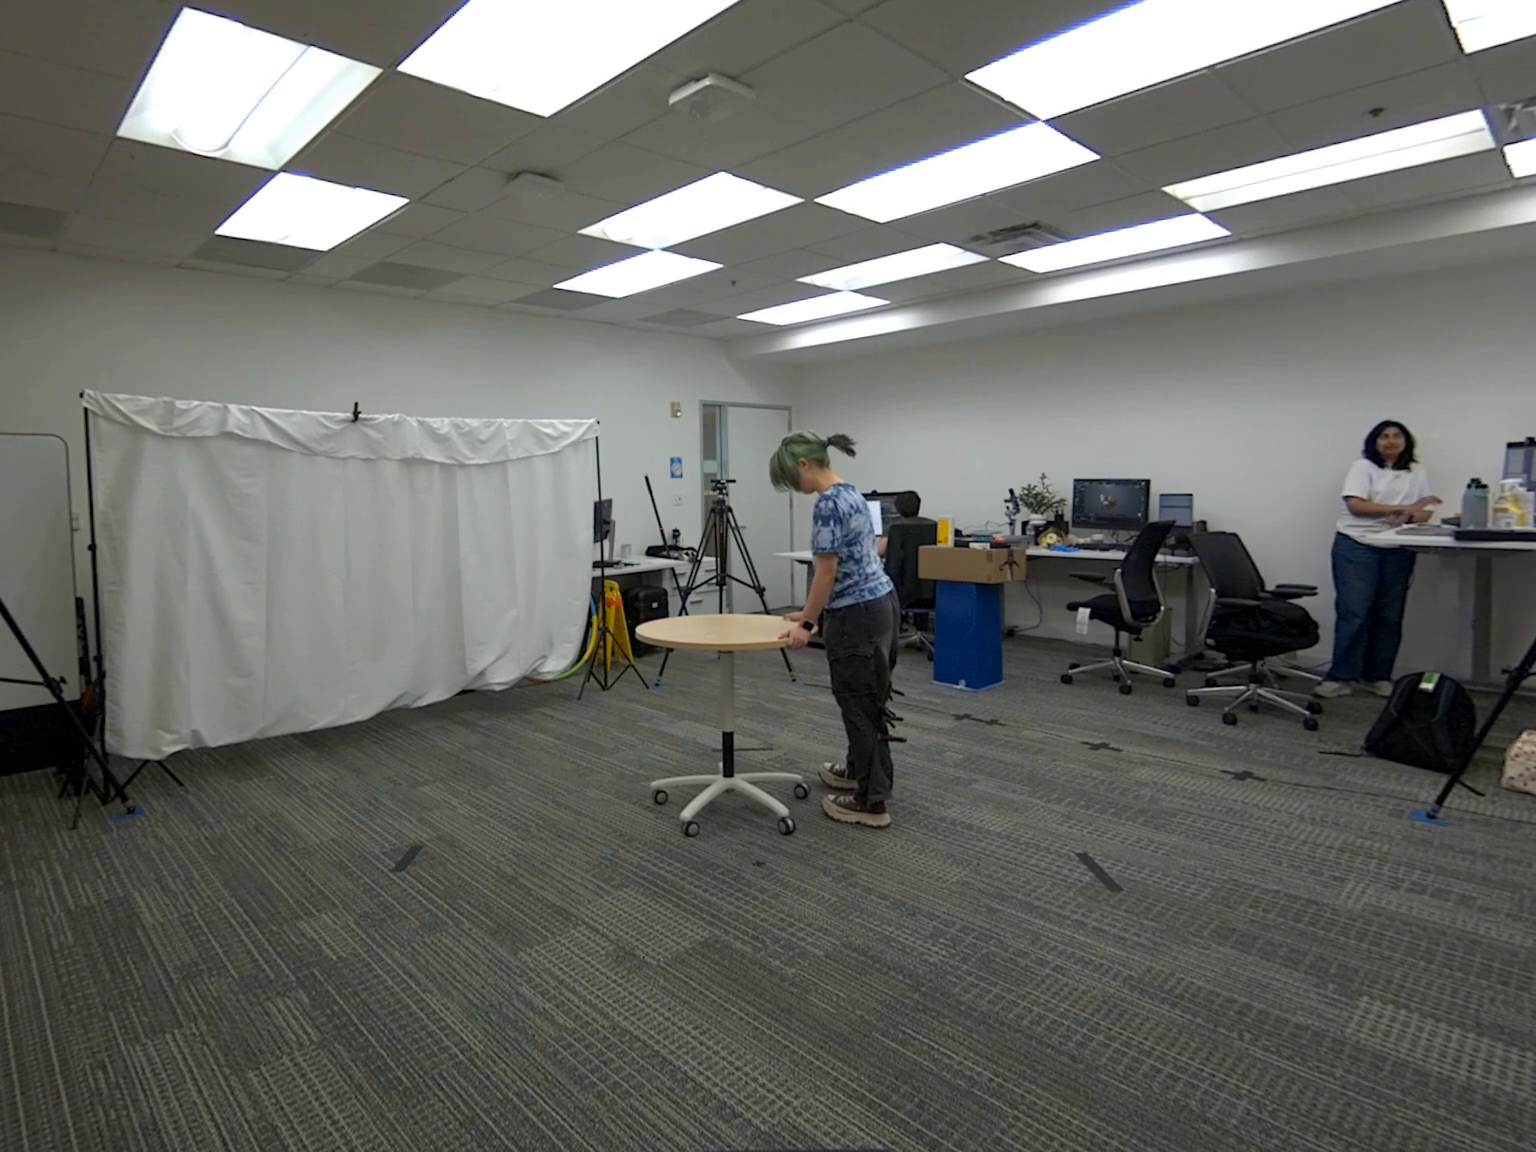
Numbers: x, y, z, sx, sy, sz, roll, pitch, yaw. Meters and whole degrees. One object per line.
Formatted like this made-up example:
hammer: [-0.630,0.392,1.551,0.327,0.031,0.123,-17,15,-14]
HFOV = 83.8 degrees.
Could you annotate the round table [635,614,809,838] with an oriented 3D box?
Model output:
round table: [-0.170,0.605,3.621,0.763,0.791,0.767,-1,4,-2]
